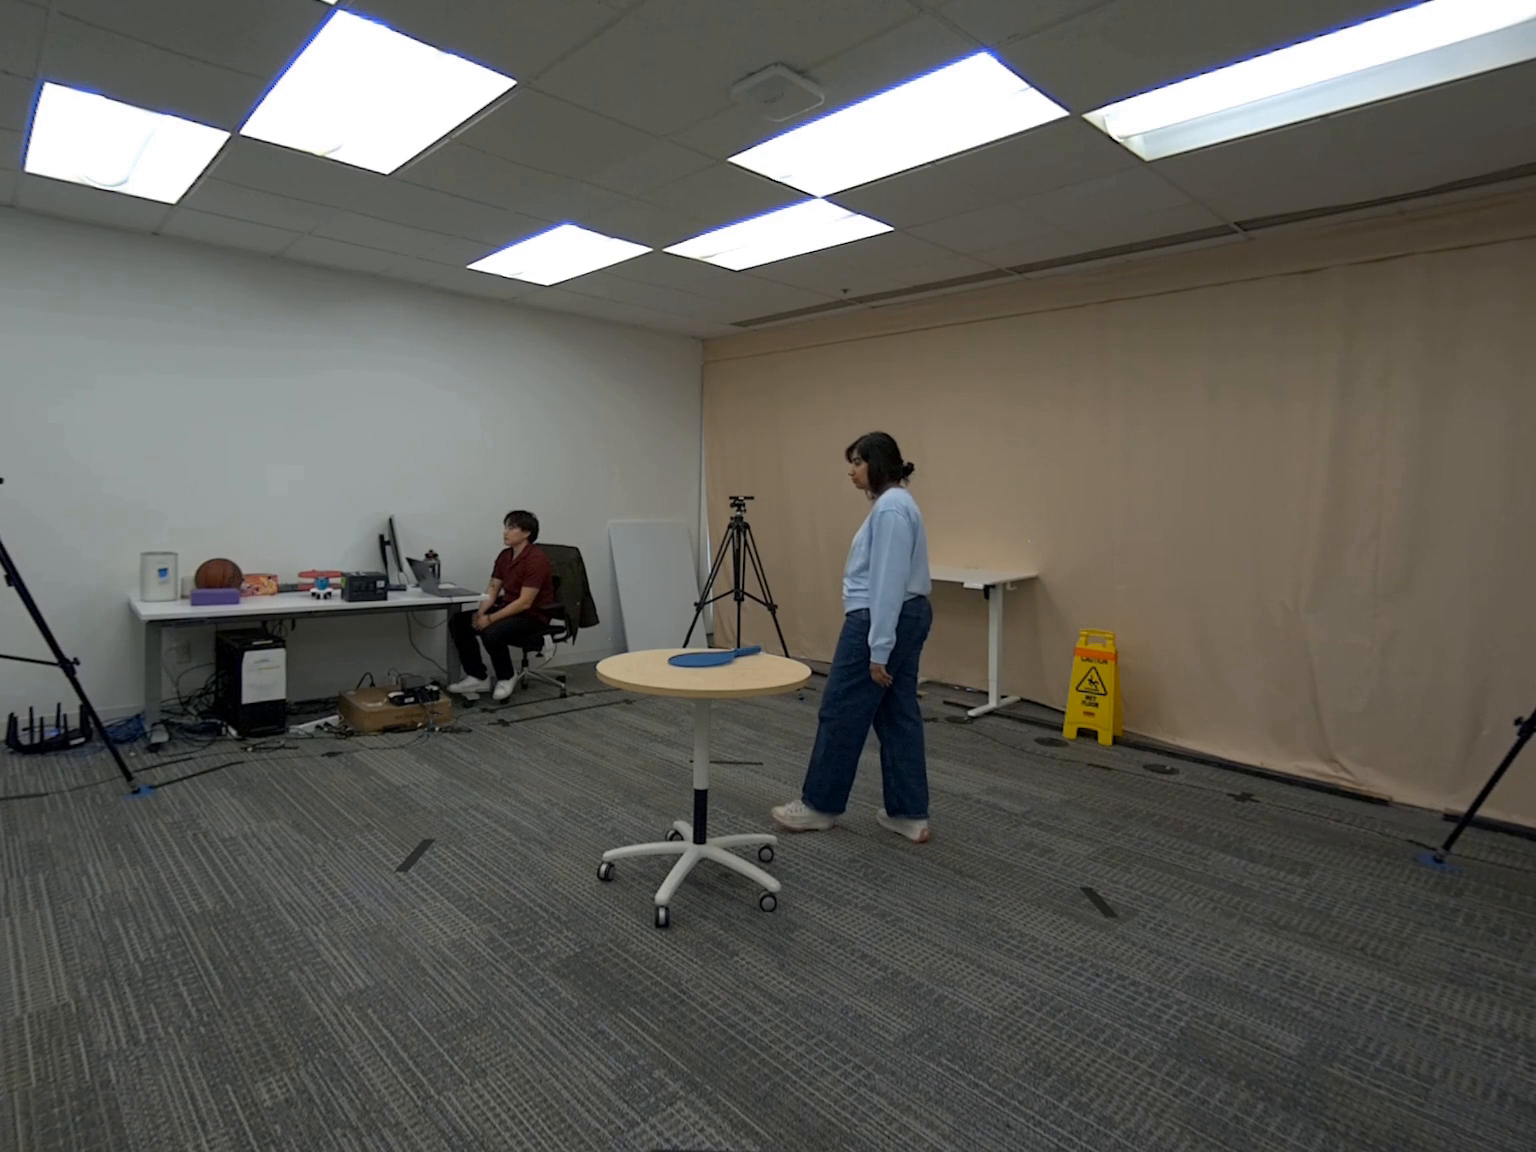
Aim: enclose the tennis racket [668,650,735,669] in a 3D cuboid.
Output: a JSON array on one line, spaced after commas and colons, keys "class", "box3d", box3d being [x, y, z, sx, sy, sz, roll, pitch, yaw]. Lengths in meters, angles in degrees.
[{"class": "tennis racket", "box3d": [-0.199, 0.306, 3.166, 0.423, 0.031, 0.219, -5, 9, -44]}]
